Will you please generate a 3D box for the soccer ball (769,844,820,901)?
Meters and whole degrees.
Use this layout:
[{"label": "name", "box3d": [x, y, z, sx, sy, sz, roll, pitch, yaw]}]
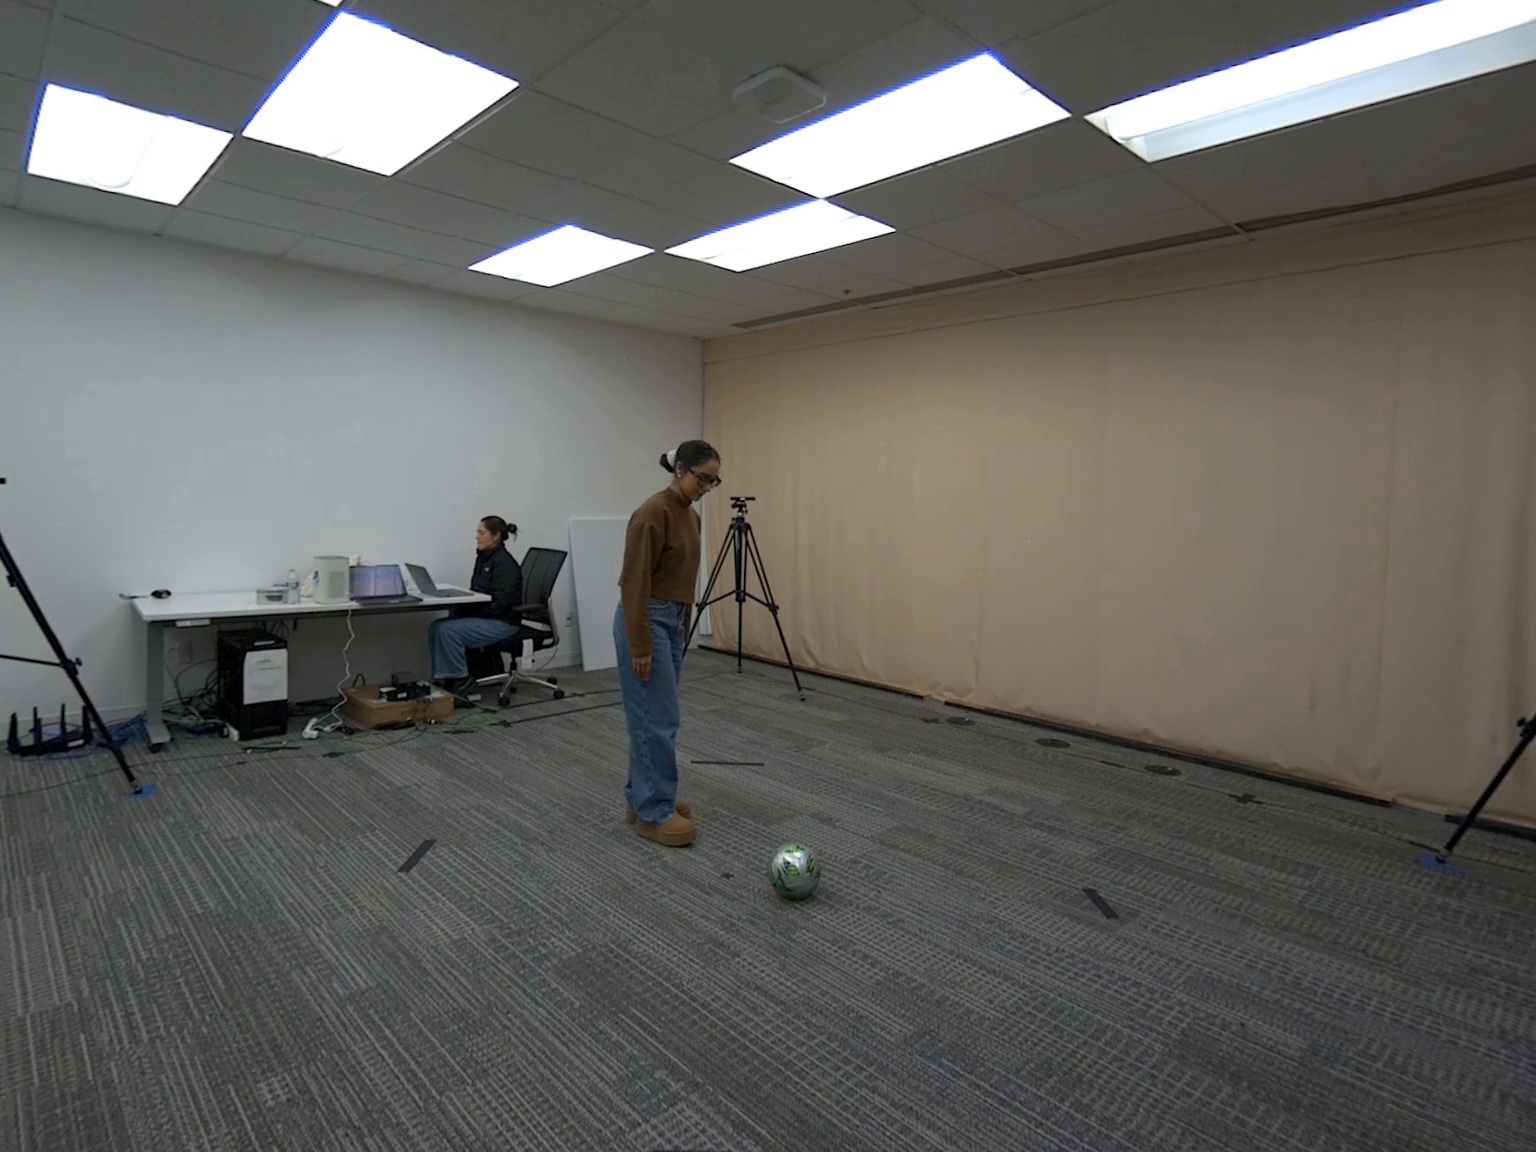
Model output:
[{"label": "soccer ball", "box3d": [0.086, 1.032, 2.949, 0.187, 0.187, 0.188, 1, 4, -1]}]
